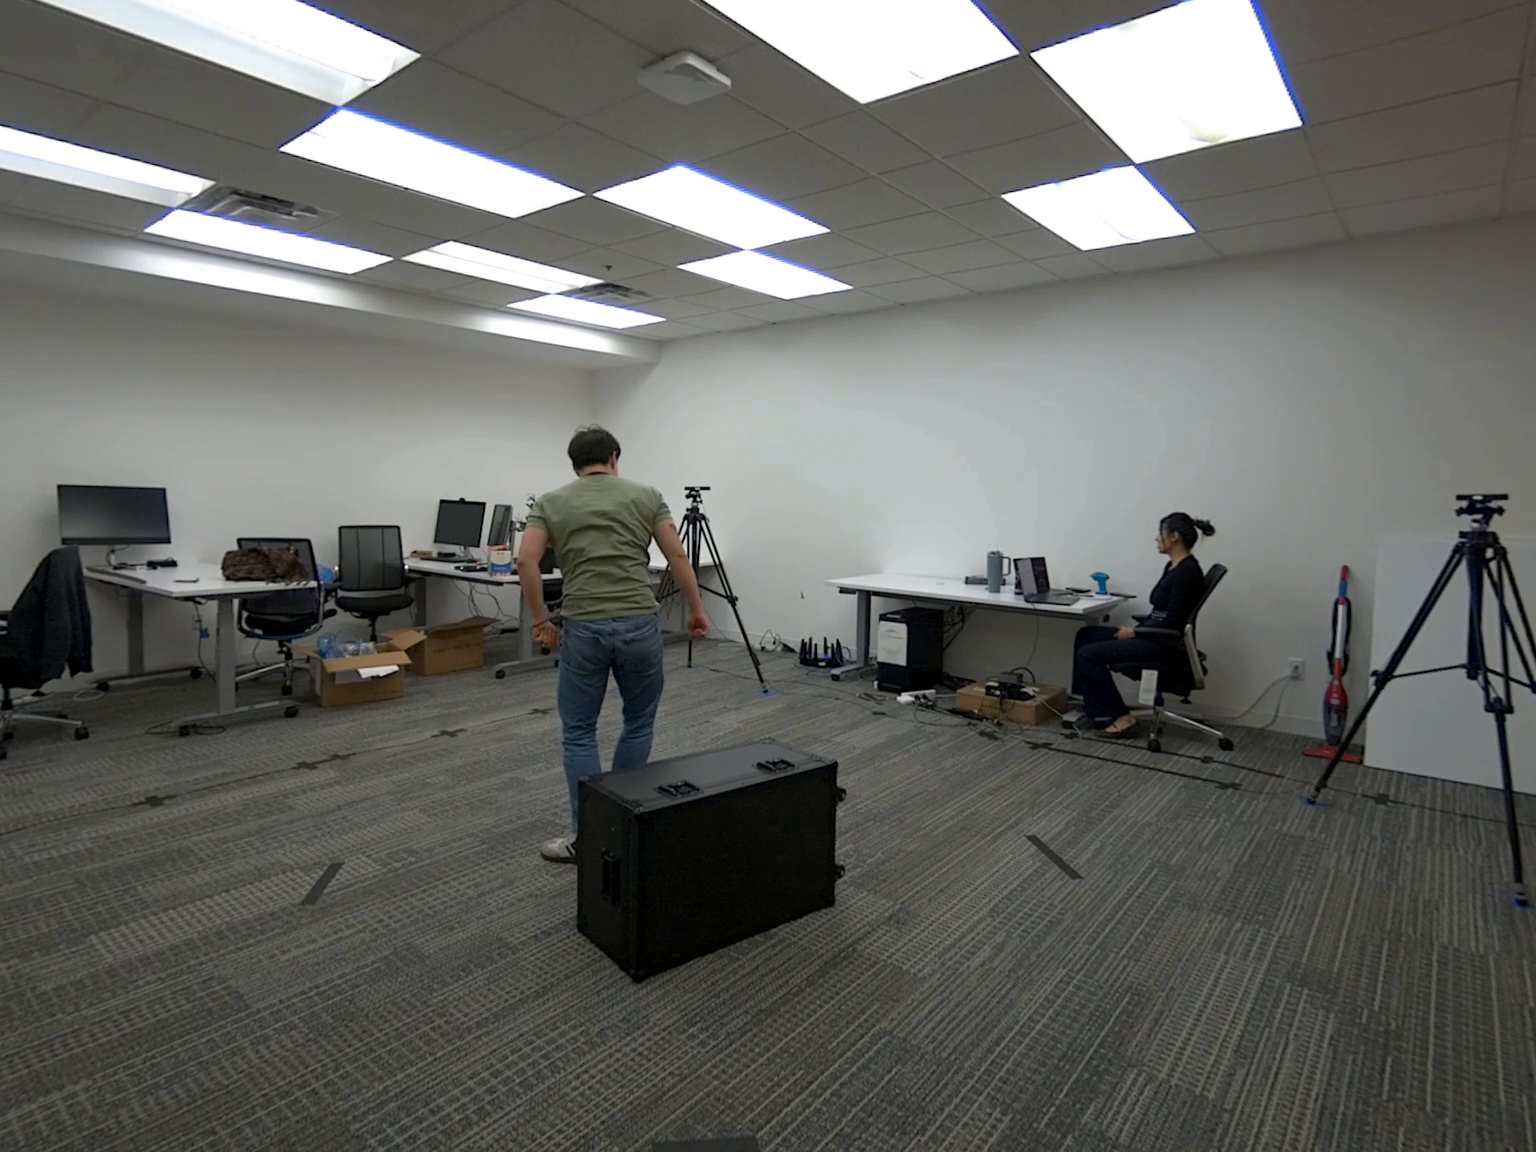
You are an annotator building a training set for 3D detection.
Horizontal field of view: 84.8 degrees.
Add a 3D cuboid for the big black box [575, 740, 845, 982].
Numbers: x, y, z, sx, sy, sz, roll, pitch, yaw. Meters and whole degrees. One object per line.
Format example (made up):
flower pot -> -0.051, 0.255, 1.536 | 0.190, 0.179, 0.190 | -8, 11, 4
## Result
big black box -> -0.170, 0.858, 2.764 | 0.836, 0.520, 0.409 | -3, 5, -38
